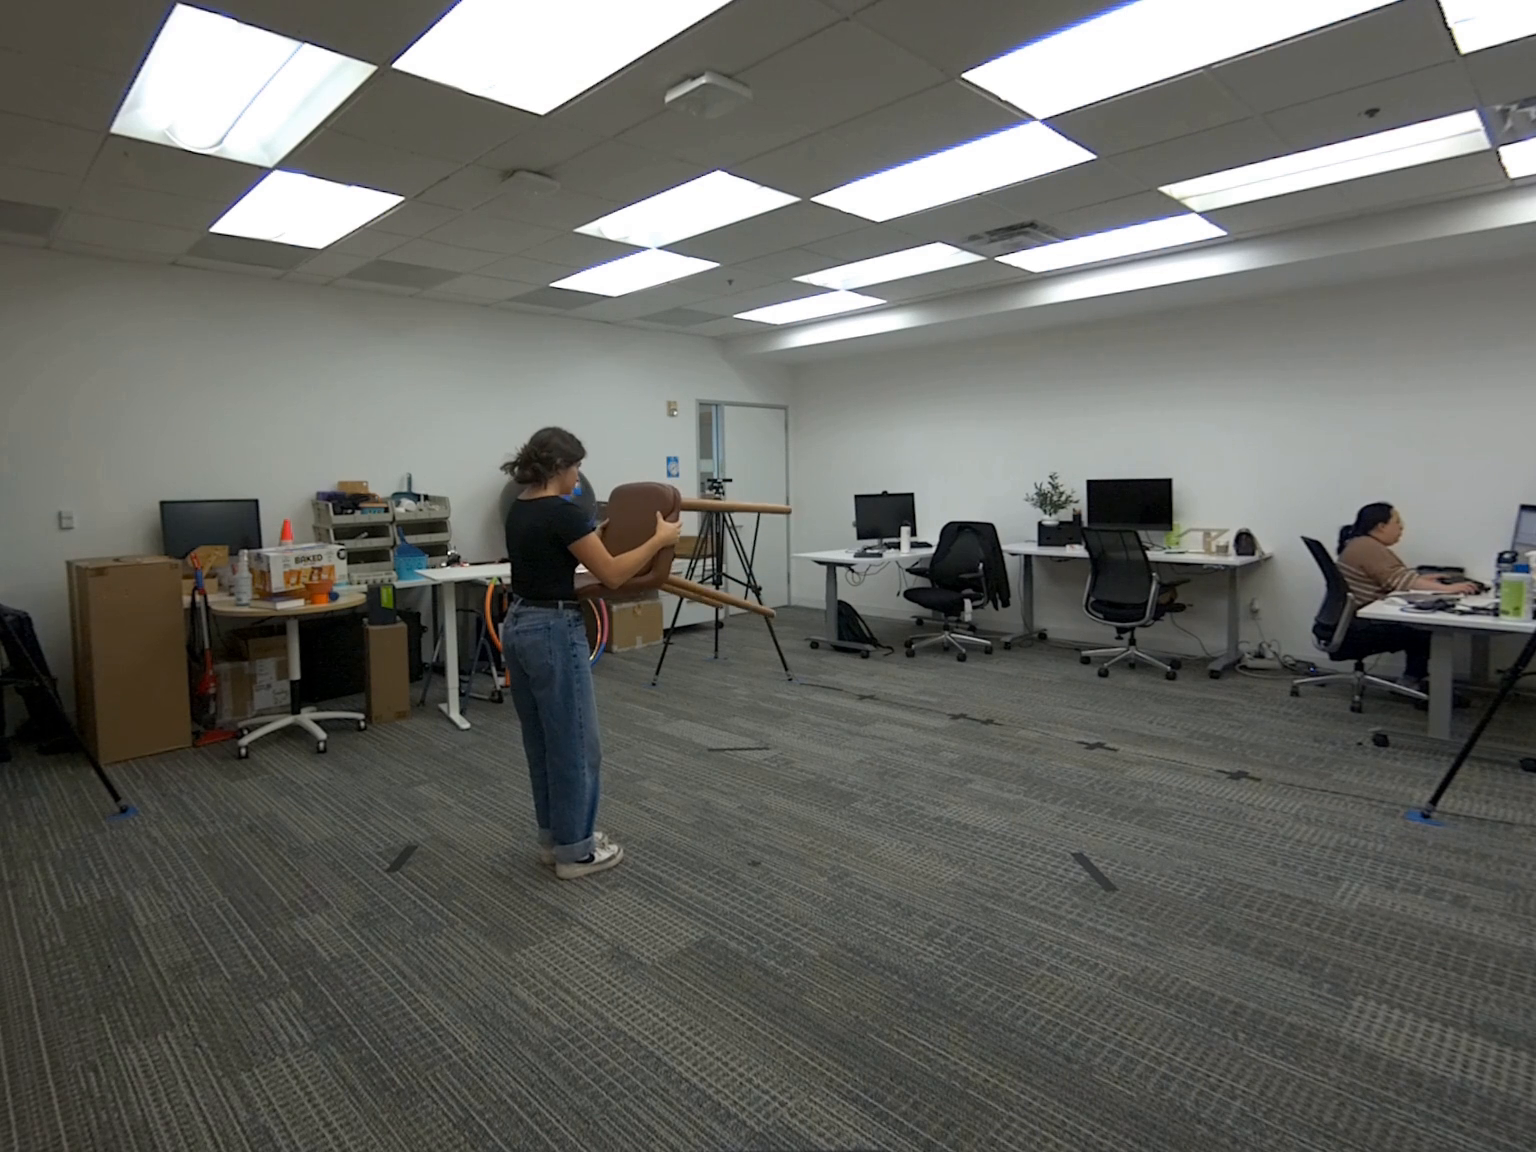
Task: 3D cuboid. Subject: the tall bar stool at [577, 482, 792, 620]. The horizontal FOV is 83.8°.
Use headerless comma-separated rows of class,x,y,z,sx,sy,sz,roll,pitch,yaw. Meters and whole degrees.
tall bar stool,-0.393,-0.108,3.335,0.863,0.468,0.470,7,-1,-37
